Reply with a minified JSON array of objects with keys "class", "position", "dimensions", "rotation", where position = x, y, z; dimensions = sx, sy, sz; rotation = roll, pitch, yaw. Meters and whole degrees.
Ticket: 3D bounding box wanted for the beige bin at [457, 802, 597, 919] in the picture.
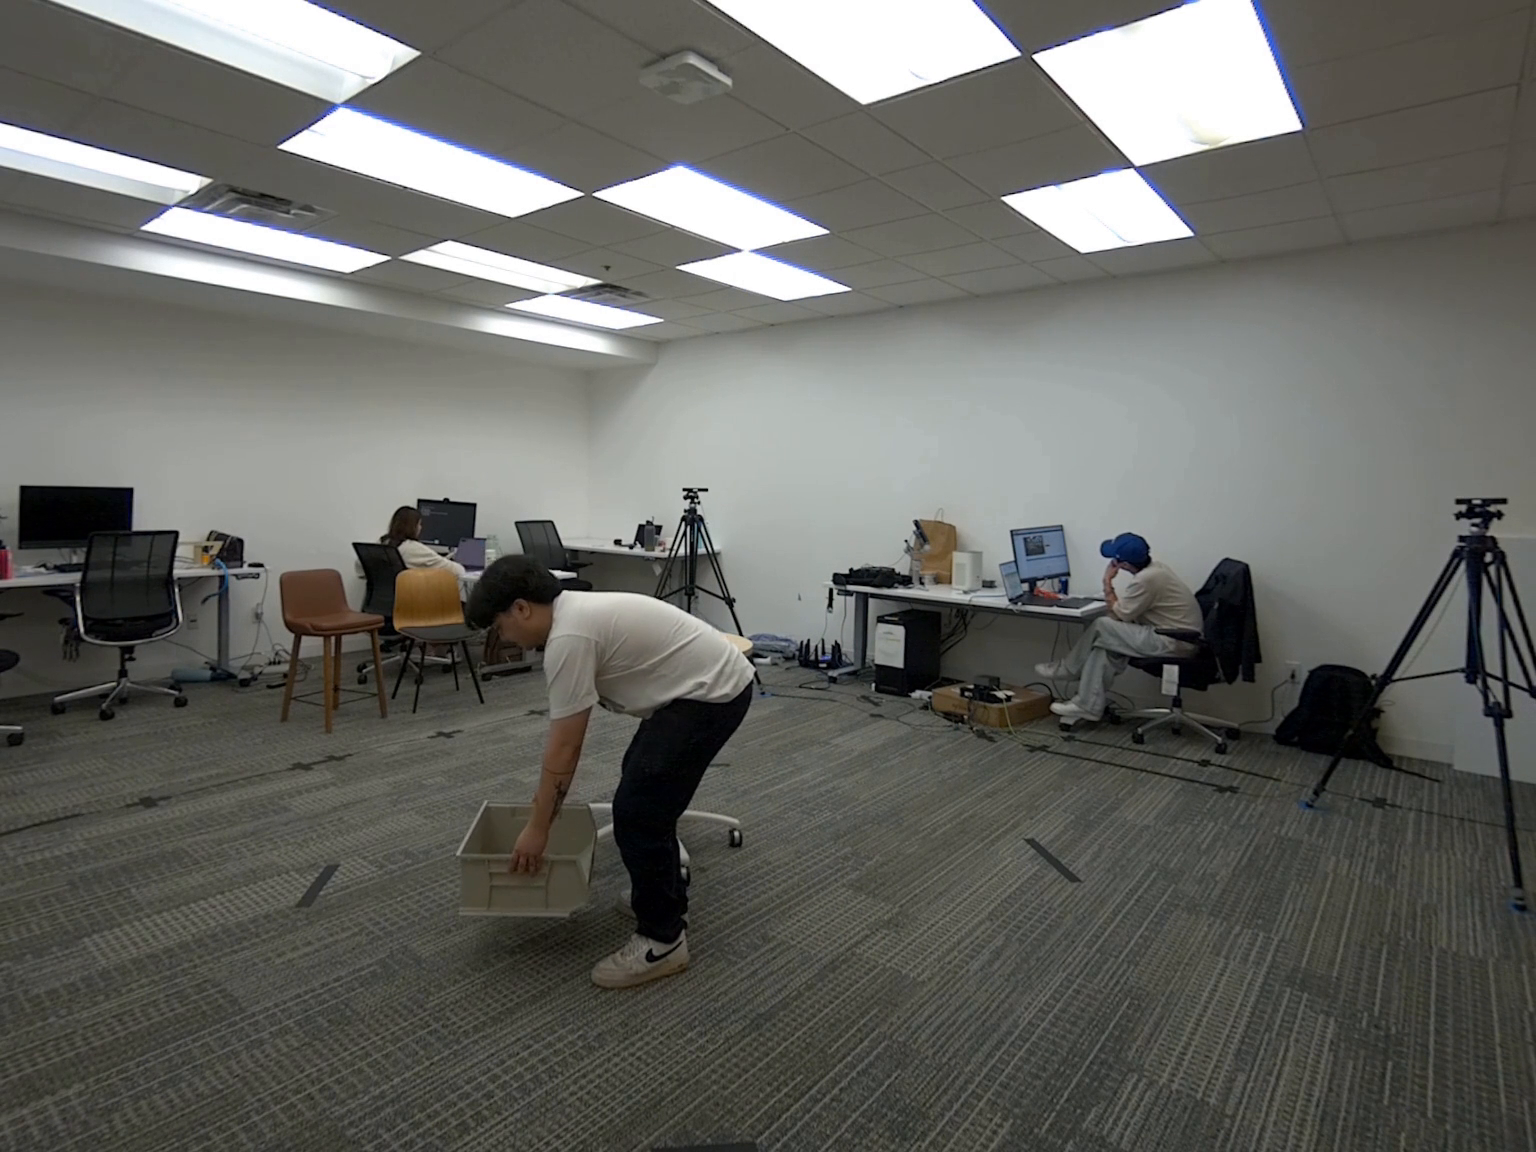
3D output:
[{"class":"beige bin","position":[-0.740,0.863,2.624],"dimensions":[0.375,0.188,0.427],"rotation":[1,4,-7]}]
